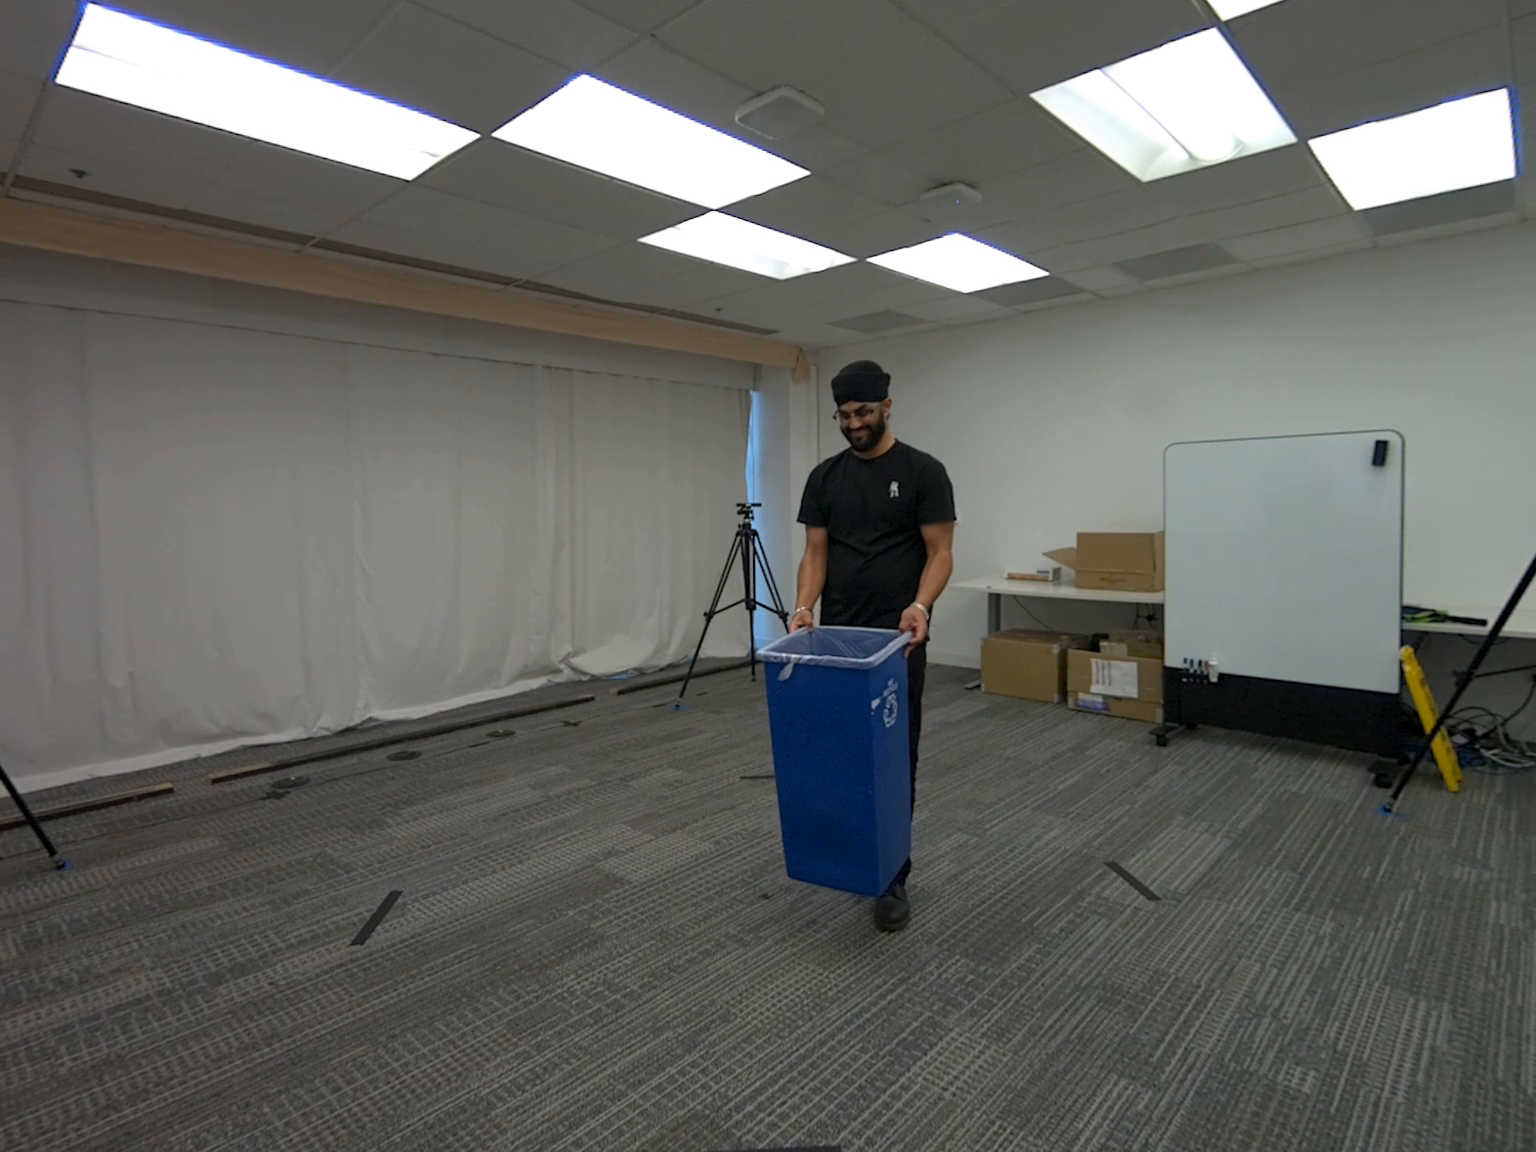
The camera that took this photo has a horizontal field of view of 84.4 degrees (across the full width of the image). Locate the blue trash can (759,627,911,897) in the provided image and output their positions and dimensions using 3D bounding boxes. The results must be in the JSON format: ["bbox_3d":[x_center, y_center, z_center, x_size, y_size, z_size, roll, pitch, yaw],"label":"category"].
[{"bbox_3d":[0.231,0.550,2.578,0.389,0.709,0.366,0,9,30],"label":"blue trash can"}]
